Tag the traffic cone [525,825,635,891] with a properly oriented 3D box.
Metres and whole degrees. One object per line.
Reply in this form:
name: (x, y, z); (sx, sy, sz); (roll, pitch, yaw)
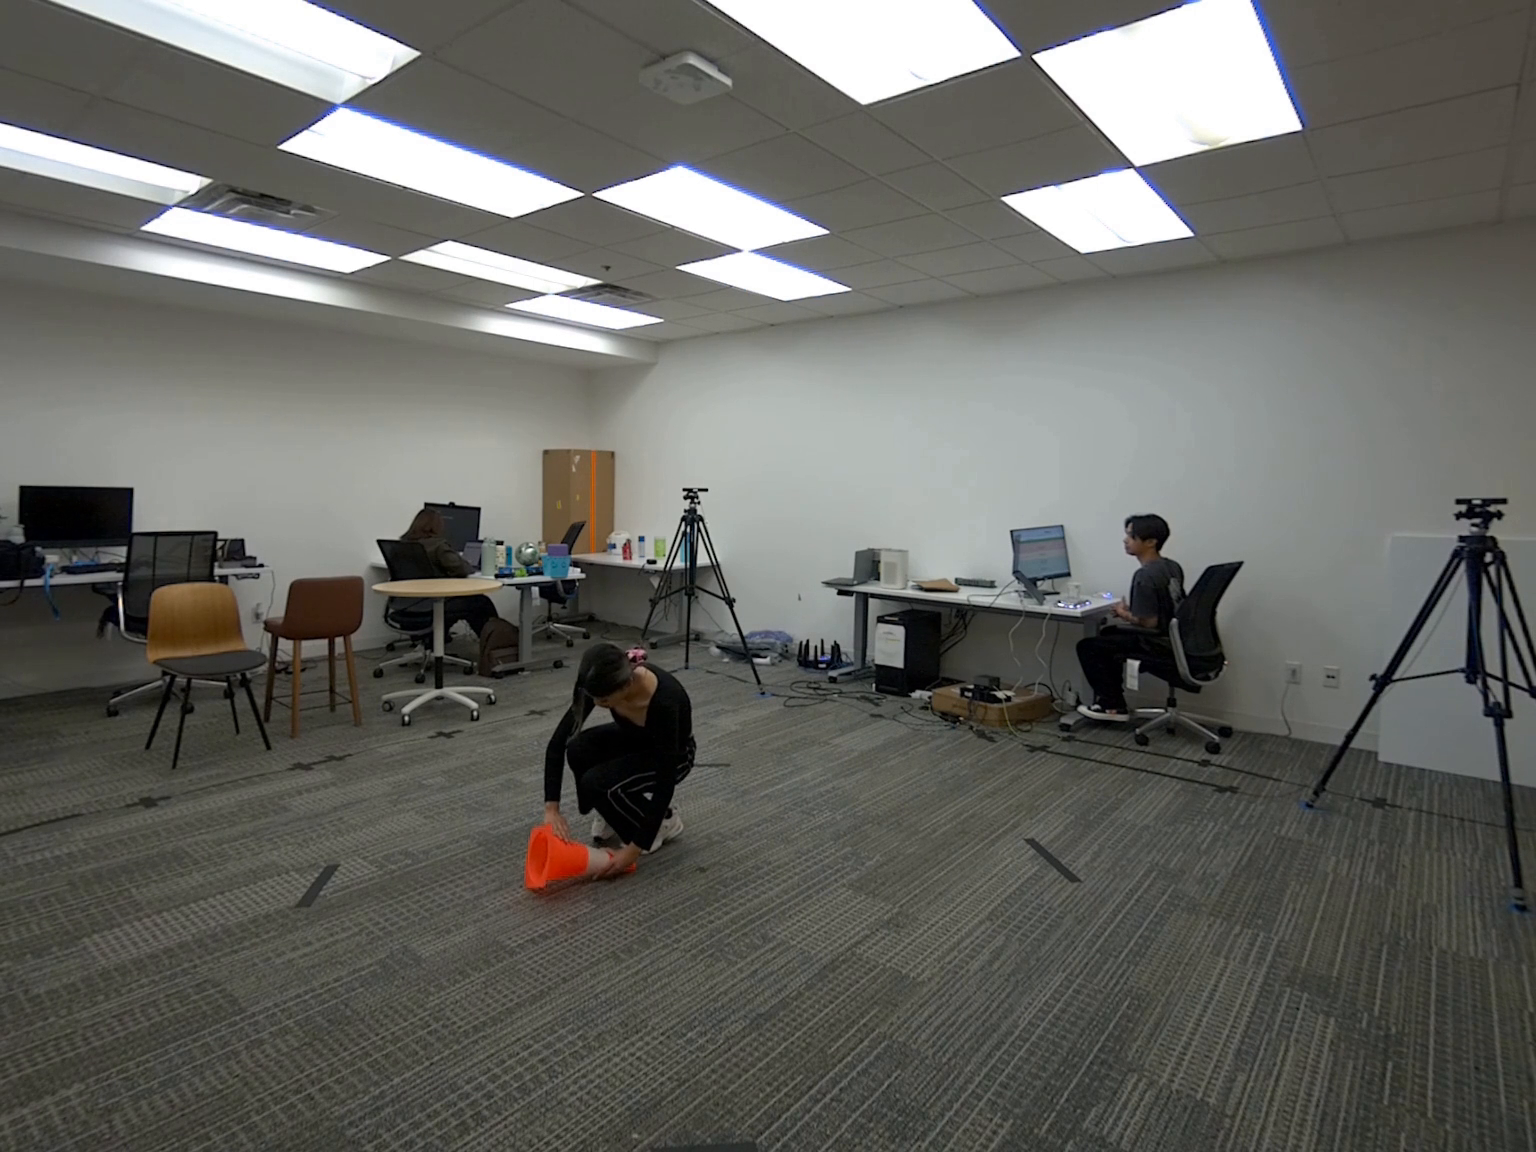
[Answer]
traffic cone: (-0.646, 1.007, 3.001); (0.371, 0.209, 0.206); (19, -27, -29)
